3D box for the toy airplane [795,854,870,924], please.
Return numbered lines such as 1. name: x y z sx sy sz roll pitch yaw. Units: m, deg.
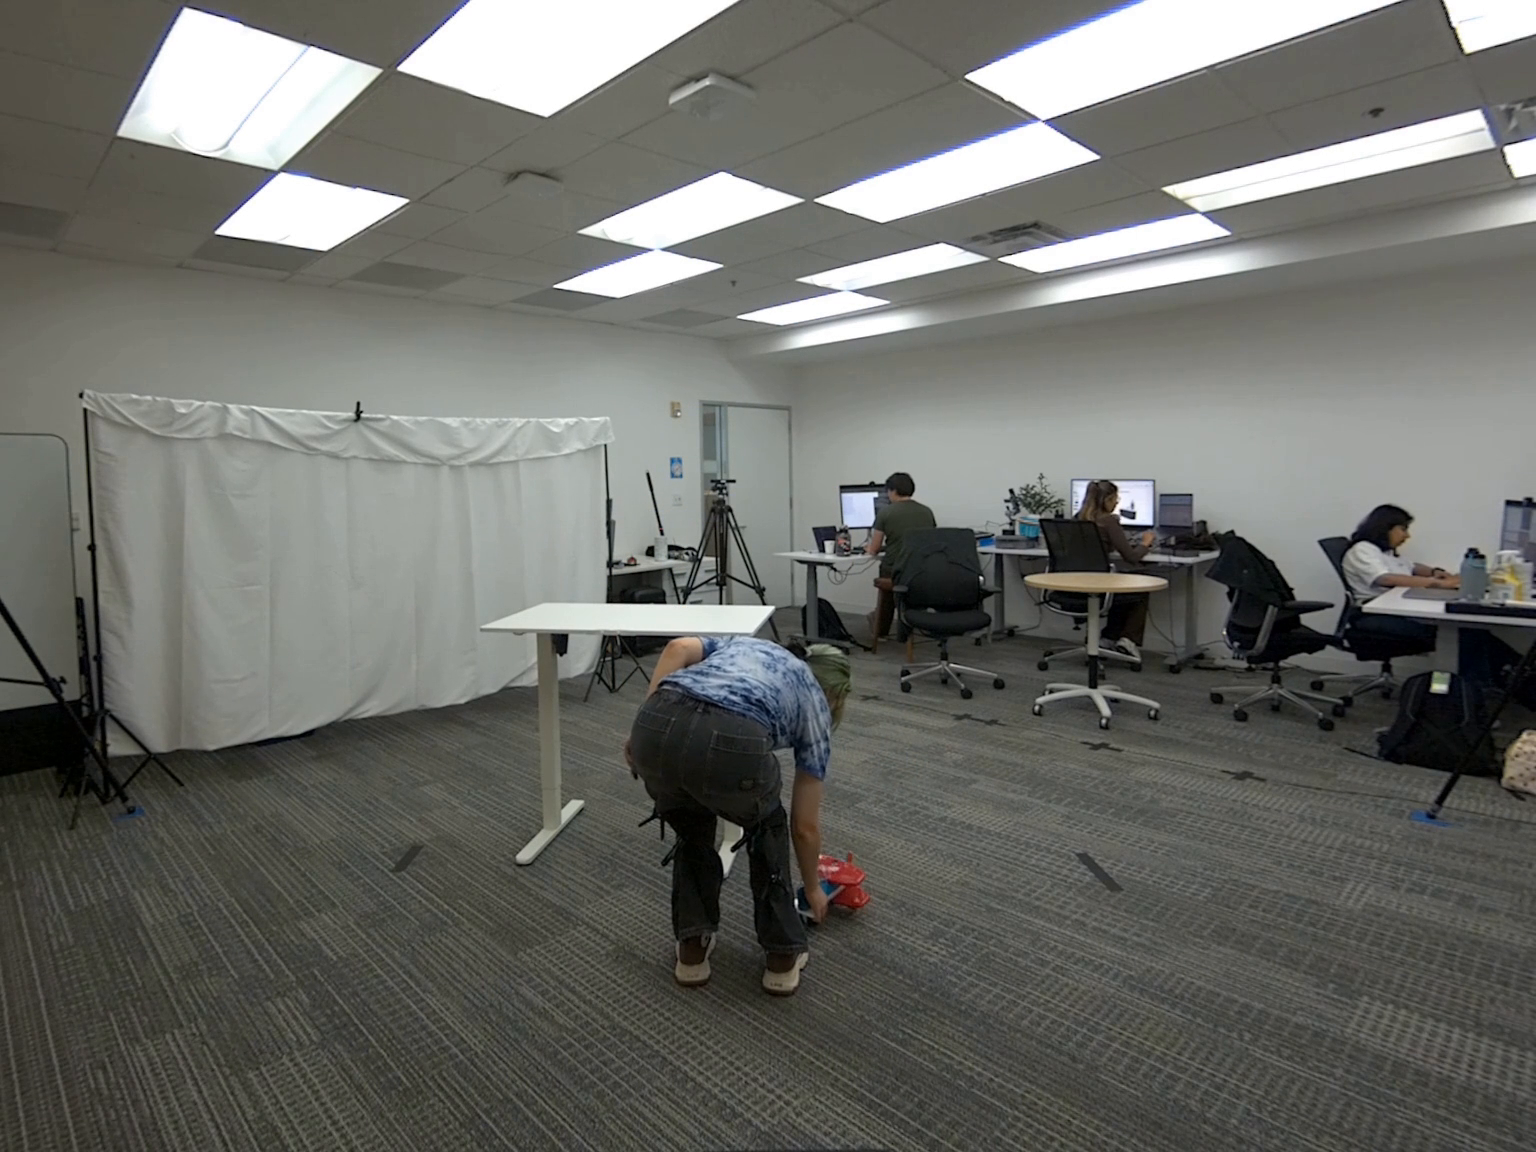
1. toy airplane: 0.207 1.004 2.708 0.255 0.156 0.255 -2 1 17
